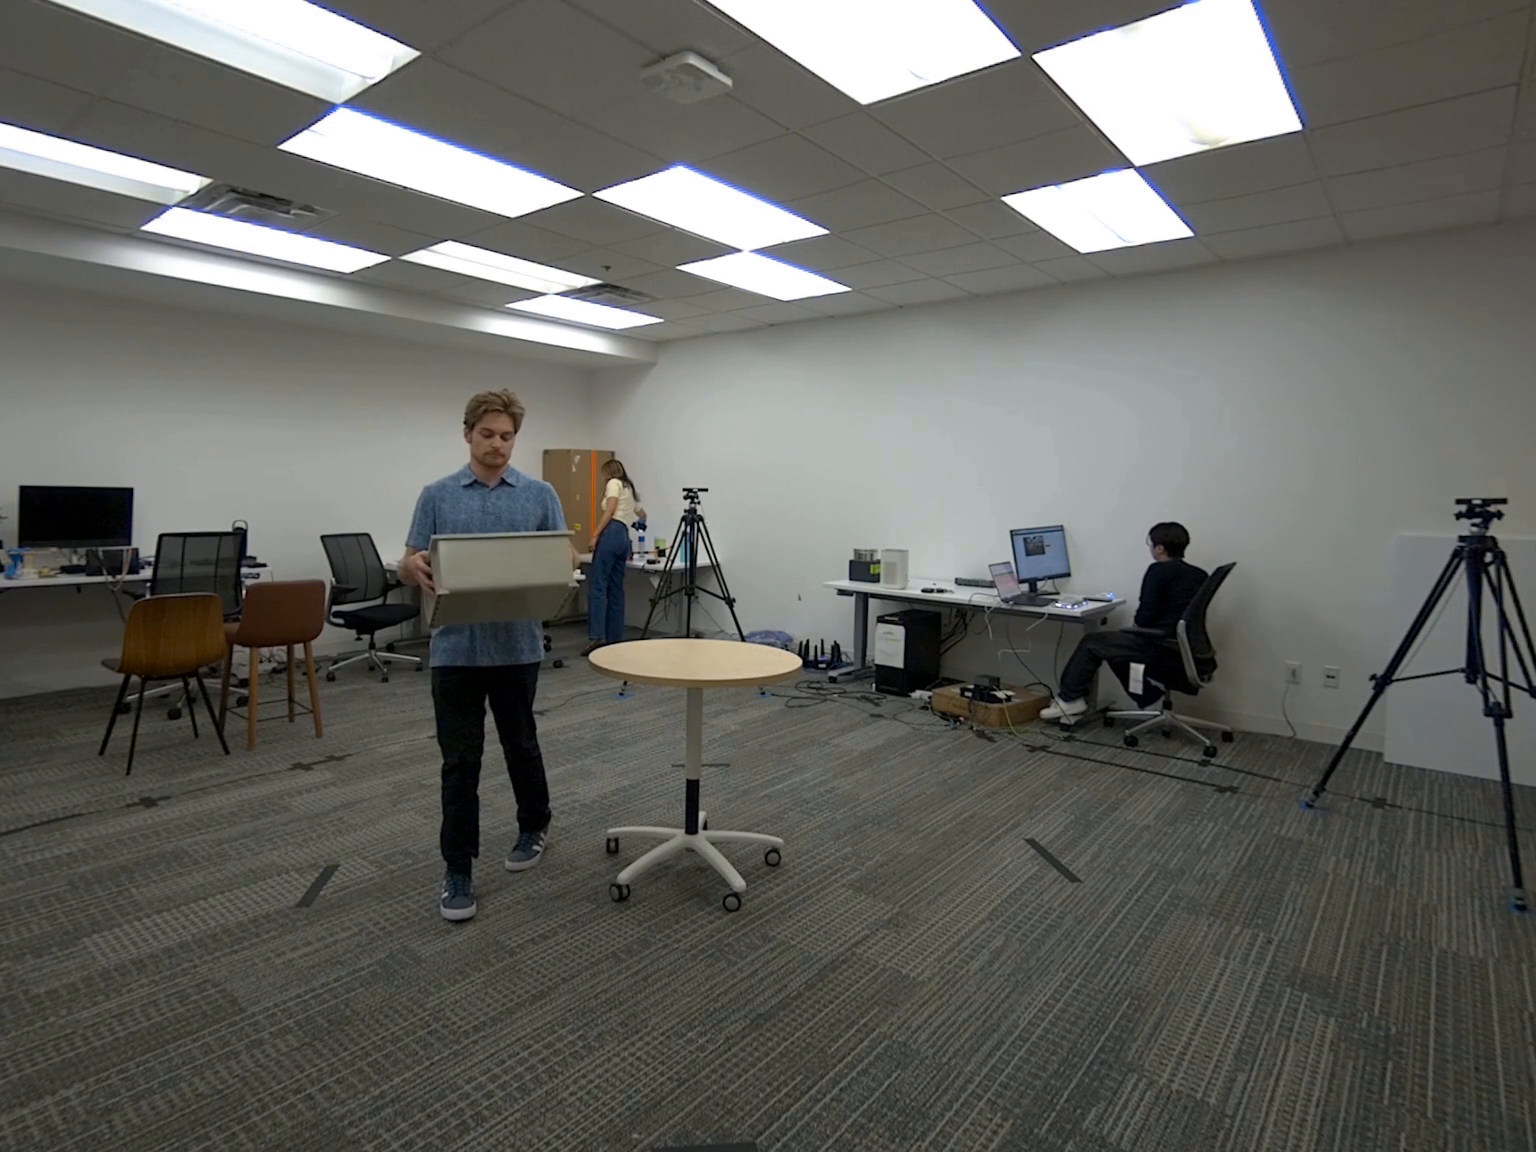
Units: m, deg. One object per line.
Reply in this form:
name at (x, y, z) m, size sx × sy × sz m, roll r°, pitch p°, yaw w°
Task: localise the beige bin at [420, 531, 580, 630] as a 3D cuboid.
beige bin at (-0.854, 0.017, 2.661) m, size 0.413 × 0.193 × 0.378 m, roll -3°, pitch -20°, yaw -25°
